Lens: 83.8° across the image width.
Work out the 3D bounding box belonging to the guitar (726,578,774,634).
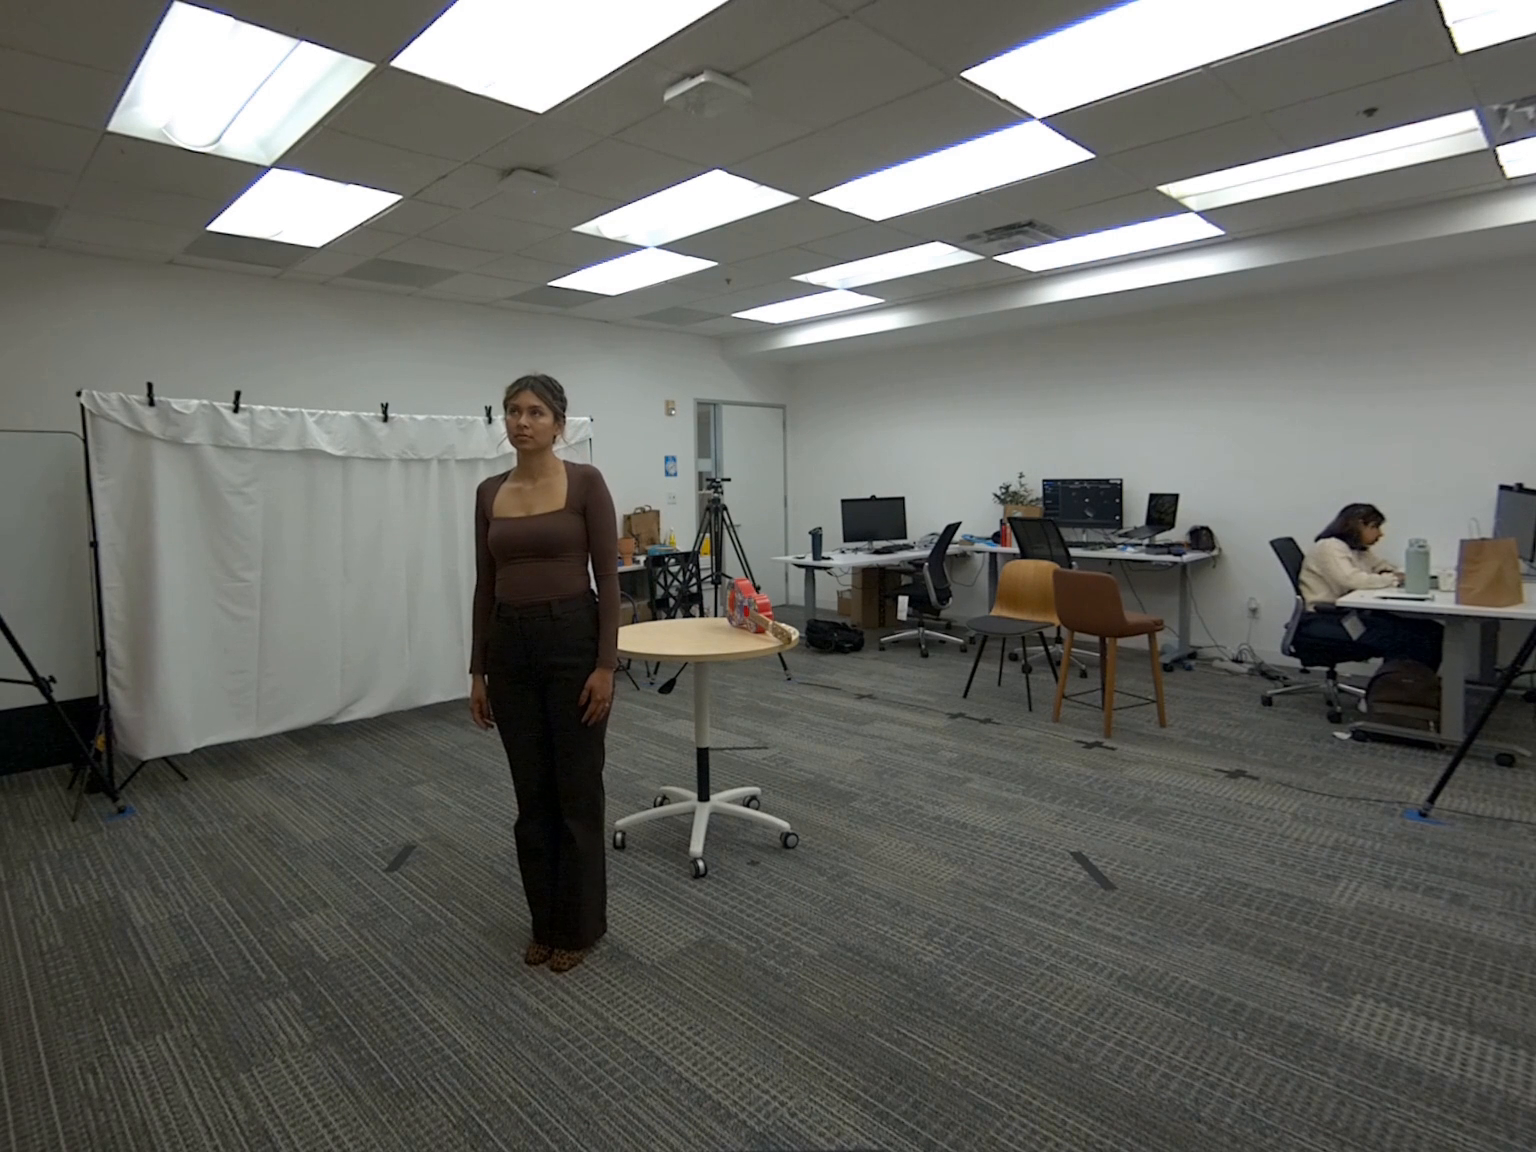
[{"bbox_3d":[-0.027,0.183,3.289,0.069,0.190,0.517,-5,26,-29],"label":"guitar"}]
